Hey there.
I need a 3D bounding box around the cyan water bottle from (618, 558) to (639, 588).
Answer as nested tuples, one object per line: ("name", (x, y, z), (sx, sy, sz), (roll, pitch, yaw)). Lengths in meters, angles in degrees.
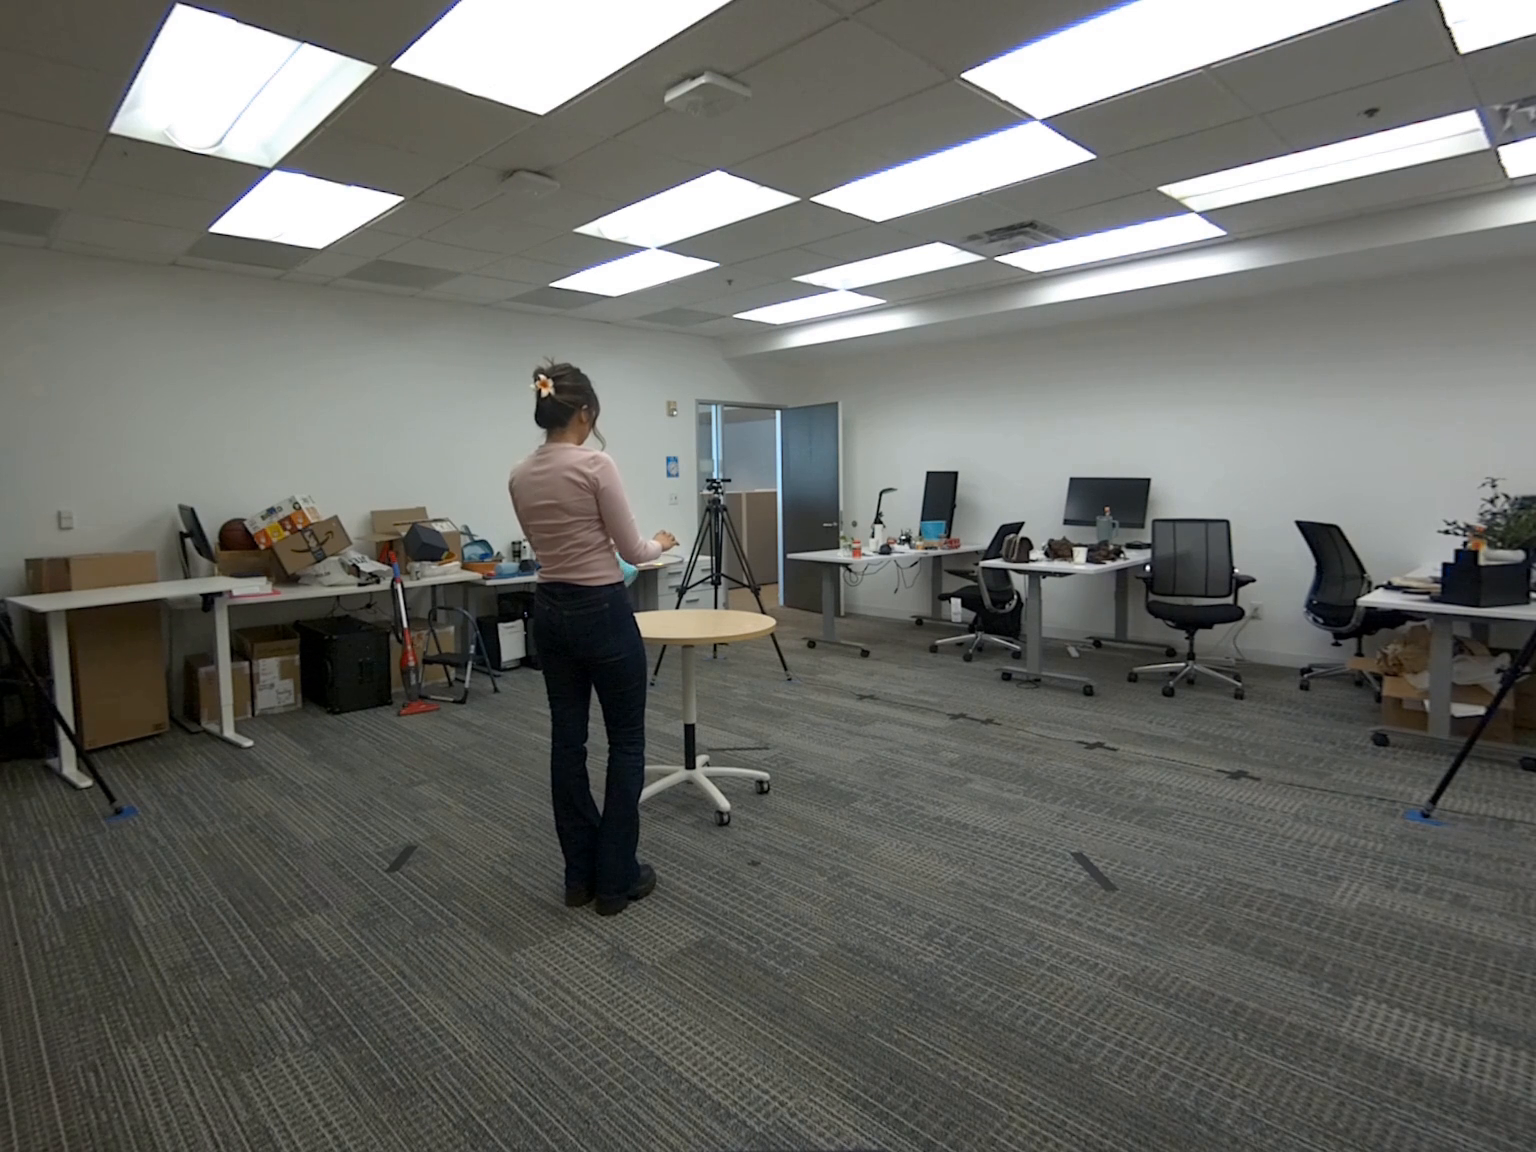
("cyan water bottle", (-0.623, -0.085, 3.307), (0.288, 0.092, 0.091), (37, 14, 13))
